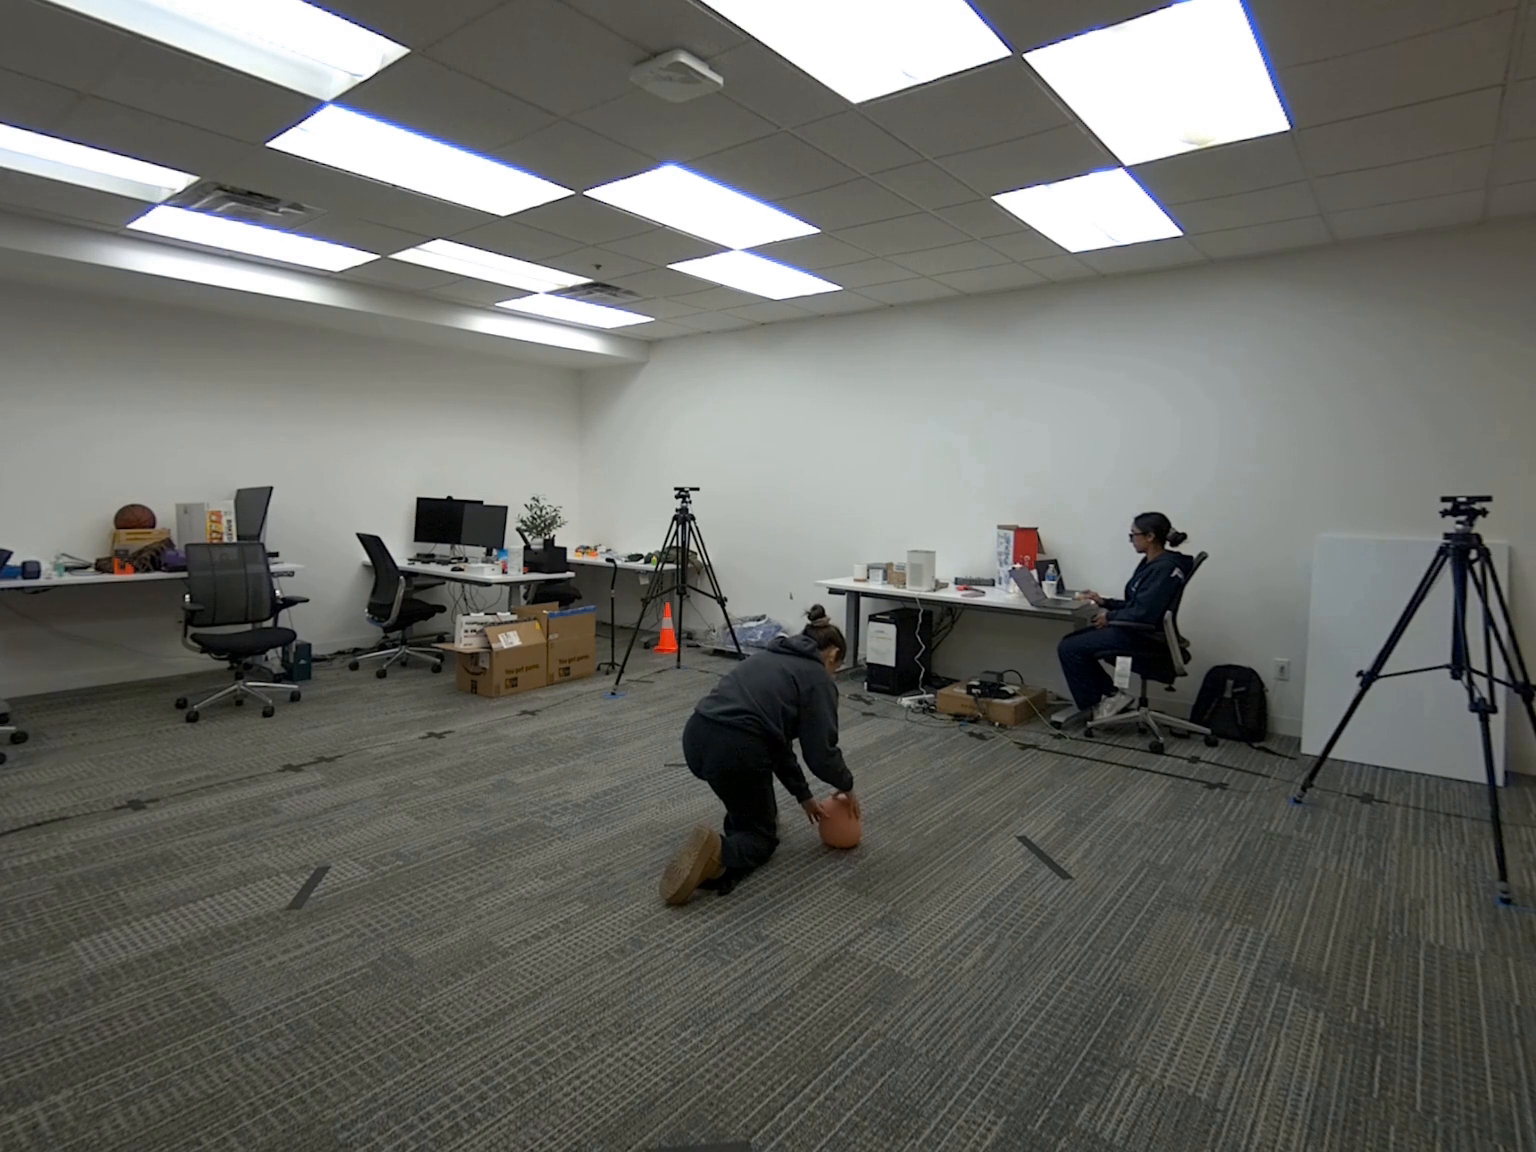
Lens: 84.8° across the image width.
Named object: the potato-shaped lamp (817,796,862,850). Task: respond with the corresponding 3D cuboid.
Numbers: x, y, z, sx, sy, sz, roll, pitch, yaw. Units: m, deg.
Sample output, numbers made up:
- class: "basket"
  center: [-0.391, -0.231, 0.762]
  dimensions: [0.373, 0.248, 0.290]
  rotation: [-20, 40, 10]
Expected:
- class: "potato-shaped lamp"
  center: [0.283, 0.956, 3.344]
  dimensions: [0.170, 0.197, 0.167]
  rotation: [5, 6, 34]
